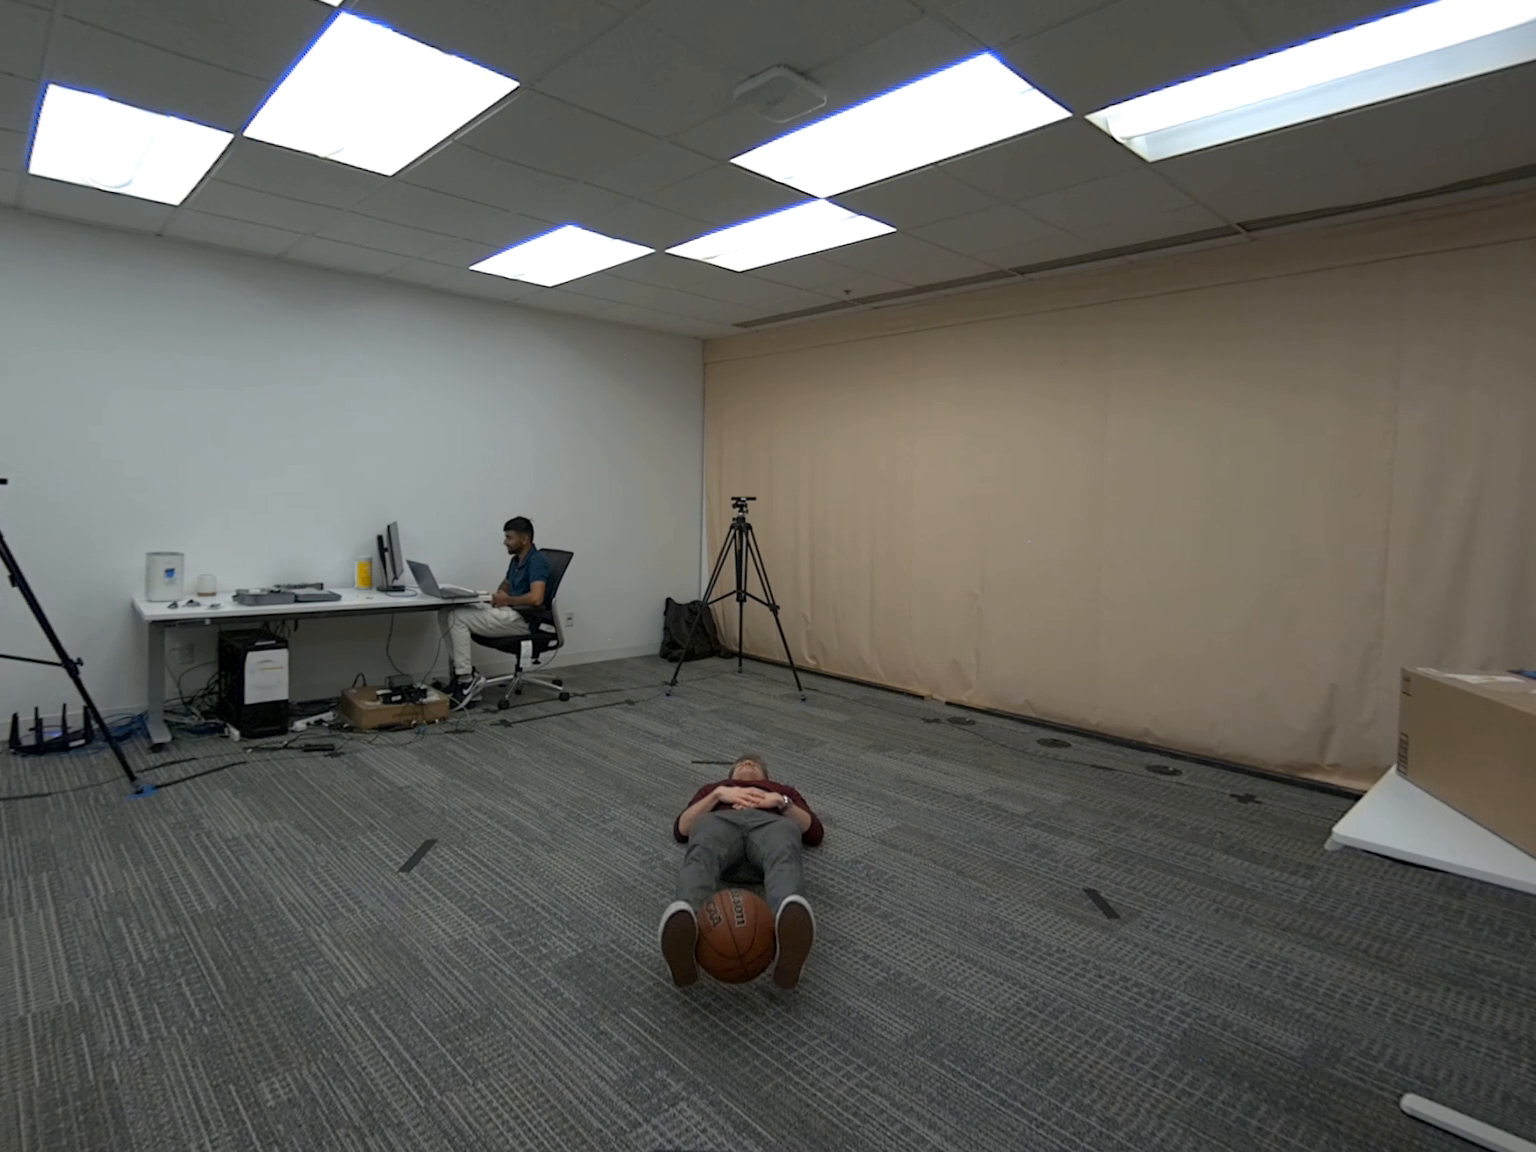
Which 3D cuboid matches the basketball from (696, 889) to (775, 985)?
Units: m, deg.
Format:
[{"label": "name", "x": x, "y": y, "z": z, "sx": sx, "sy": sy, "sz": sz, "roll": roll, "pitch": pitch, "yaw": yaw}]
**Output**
[{"label": "basketball", "x": -0.099, "y": 0.991, "z": 2.316, "sx": 0.236, "sy": 0.234, "sz": 0.237, "roll": 0, "pitch": 7, "yaw": -1}]
